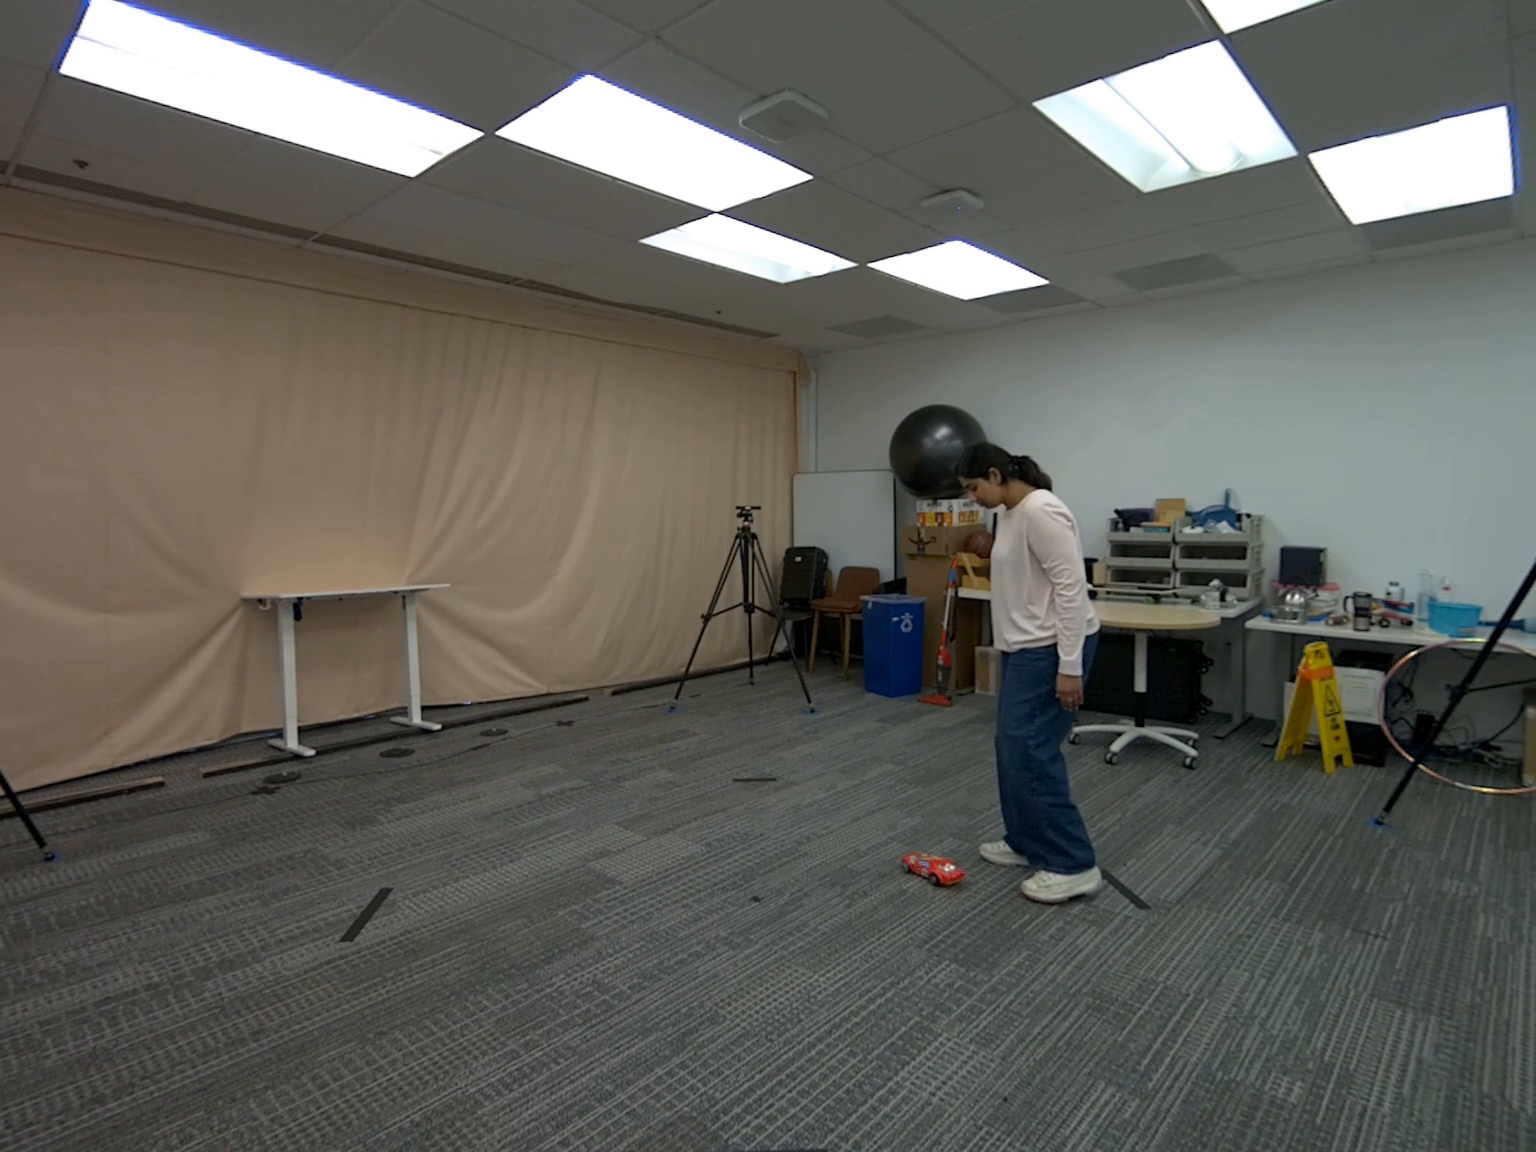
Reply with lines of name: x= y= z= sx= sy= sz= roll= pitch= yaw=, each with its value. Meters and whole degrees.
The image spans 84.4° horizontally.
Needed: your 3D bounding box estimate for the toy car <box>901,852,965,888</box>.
toy car: x=0.624 y=1.100 z=3.151 sx=0.126 sy=0.083 sz=0.261 roll=-2 pitch=-6 yaw=-35
